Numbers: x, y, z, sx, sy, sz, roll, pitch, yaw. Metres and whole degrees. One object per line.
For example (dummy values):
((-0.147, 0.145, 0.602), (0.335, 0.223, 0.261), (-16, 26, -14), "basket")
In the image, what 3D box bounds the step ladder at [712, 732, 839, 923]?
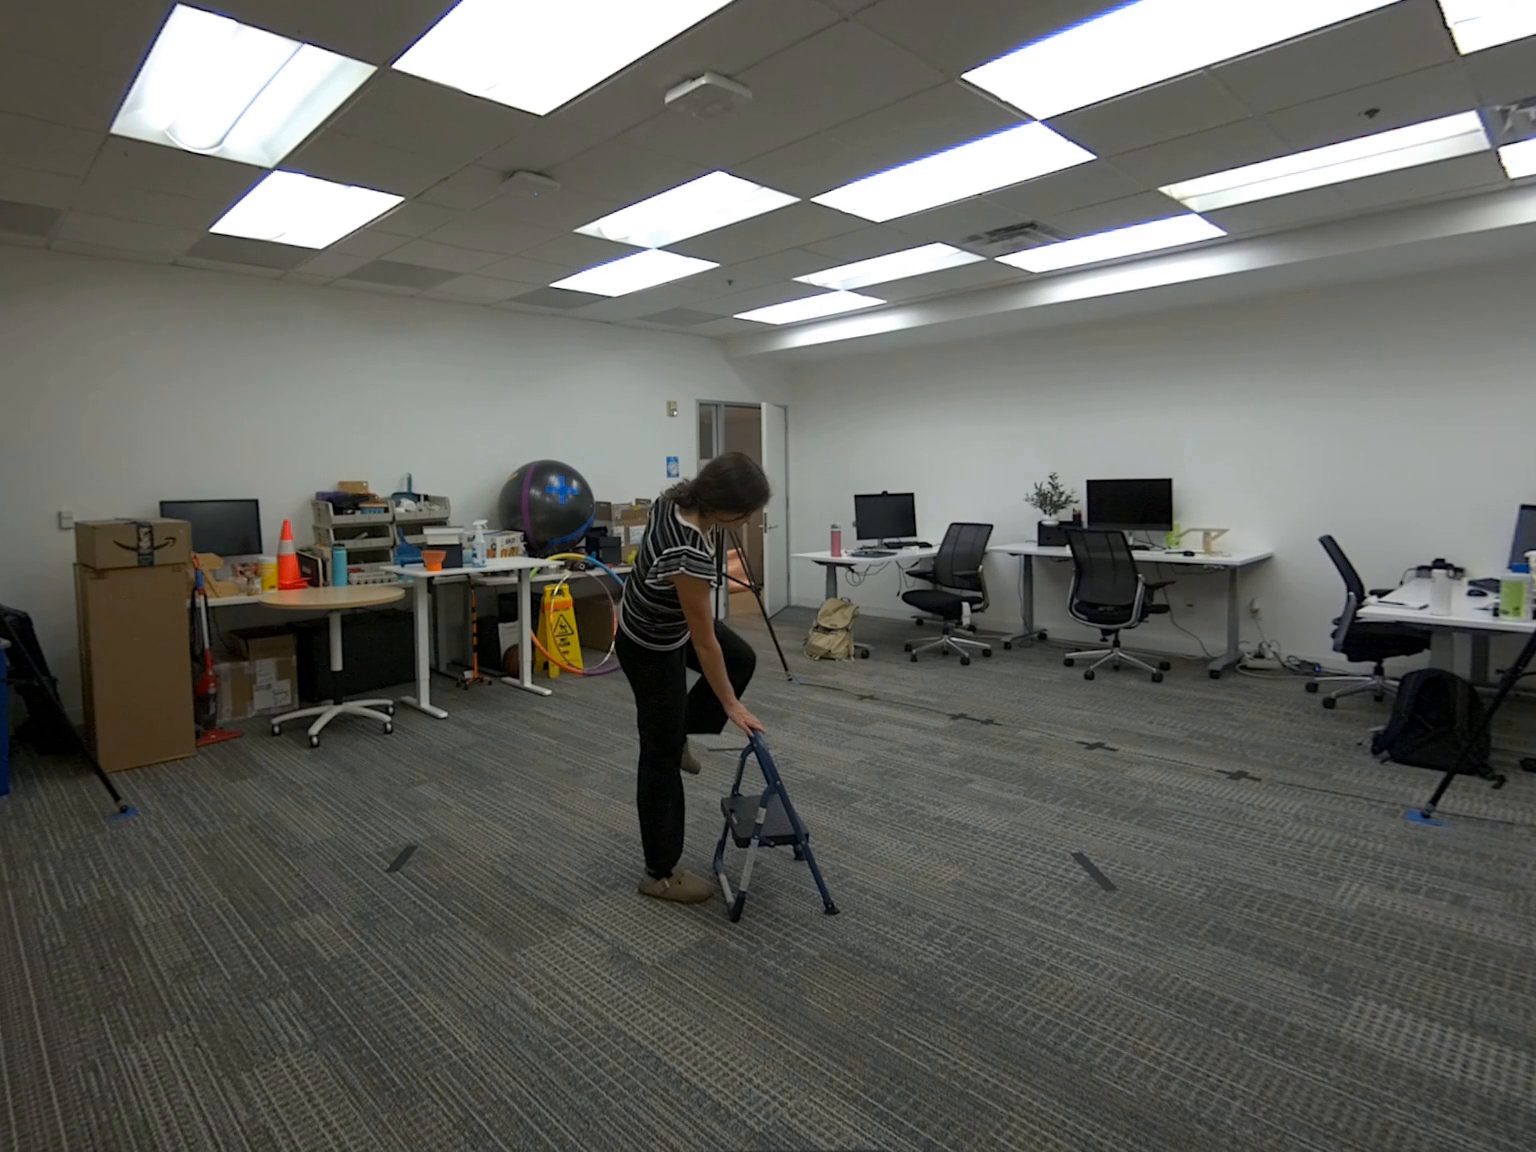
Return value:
((0.005, 0.766, 2.898), (0.346, 0.604, 0.436), (-2, 4, -11), "step ladder")
